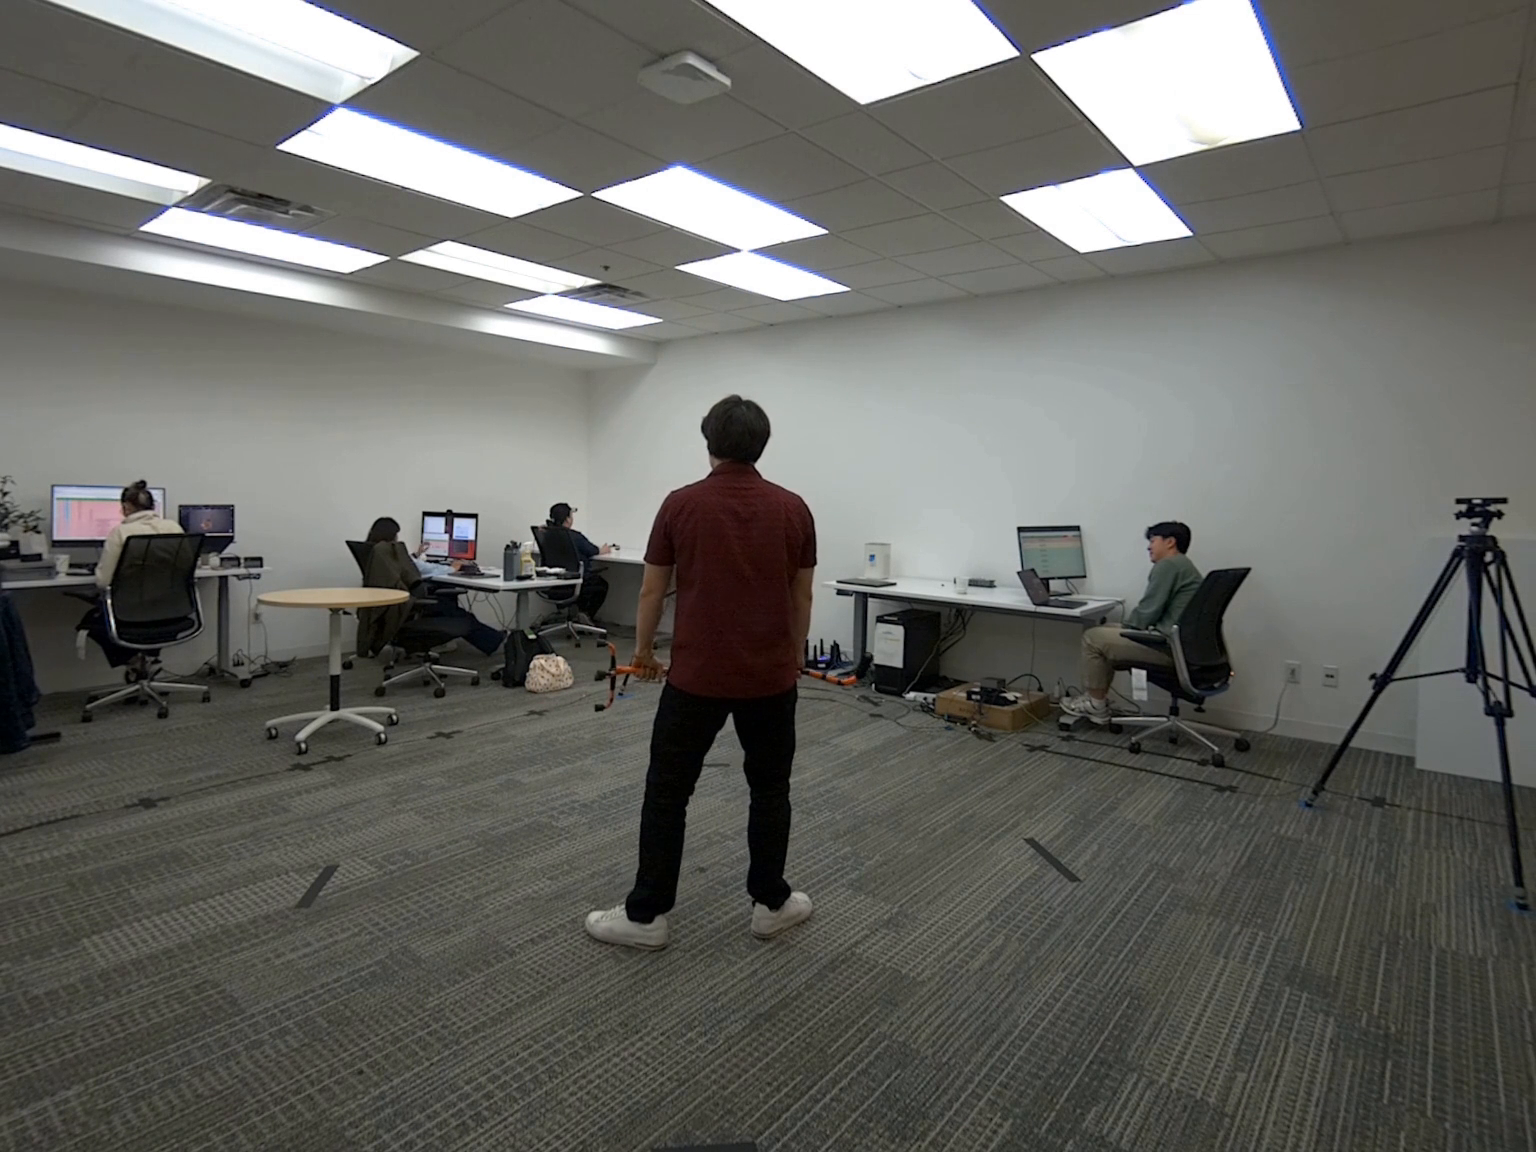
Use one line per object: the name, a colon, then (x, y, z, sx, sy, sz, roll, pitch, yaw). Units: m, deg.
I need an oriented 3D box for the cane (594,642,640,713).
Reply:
cane: (-0.124, 0.331, 2.817, 0.900, 0.201, 0.156, 2, 40, -7)
